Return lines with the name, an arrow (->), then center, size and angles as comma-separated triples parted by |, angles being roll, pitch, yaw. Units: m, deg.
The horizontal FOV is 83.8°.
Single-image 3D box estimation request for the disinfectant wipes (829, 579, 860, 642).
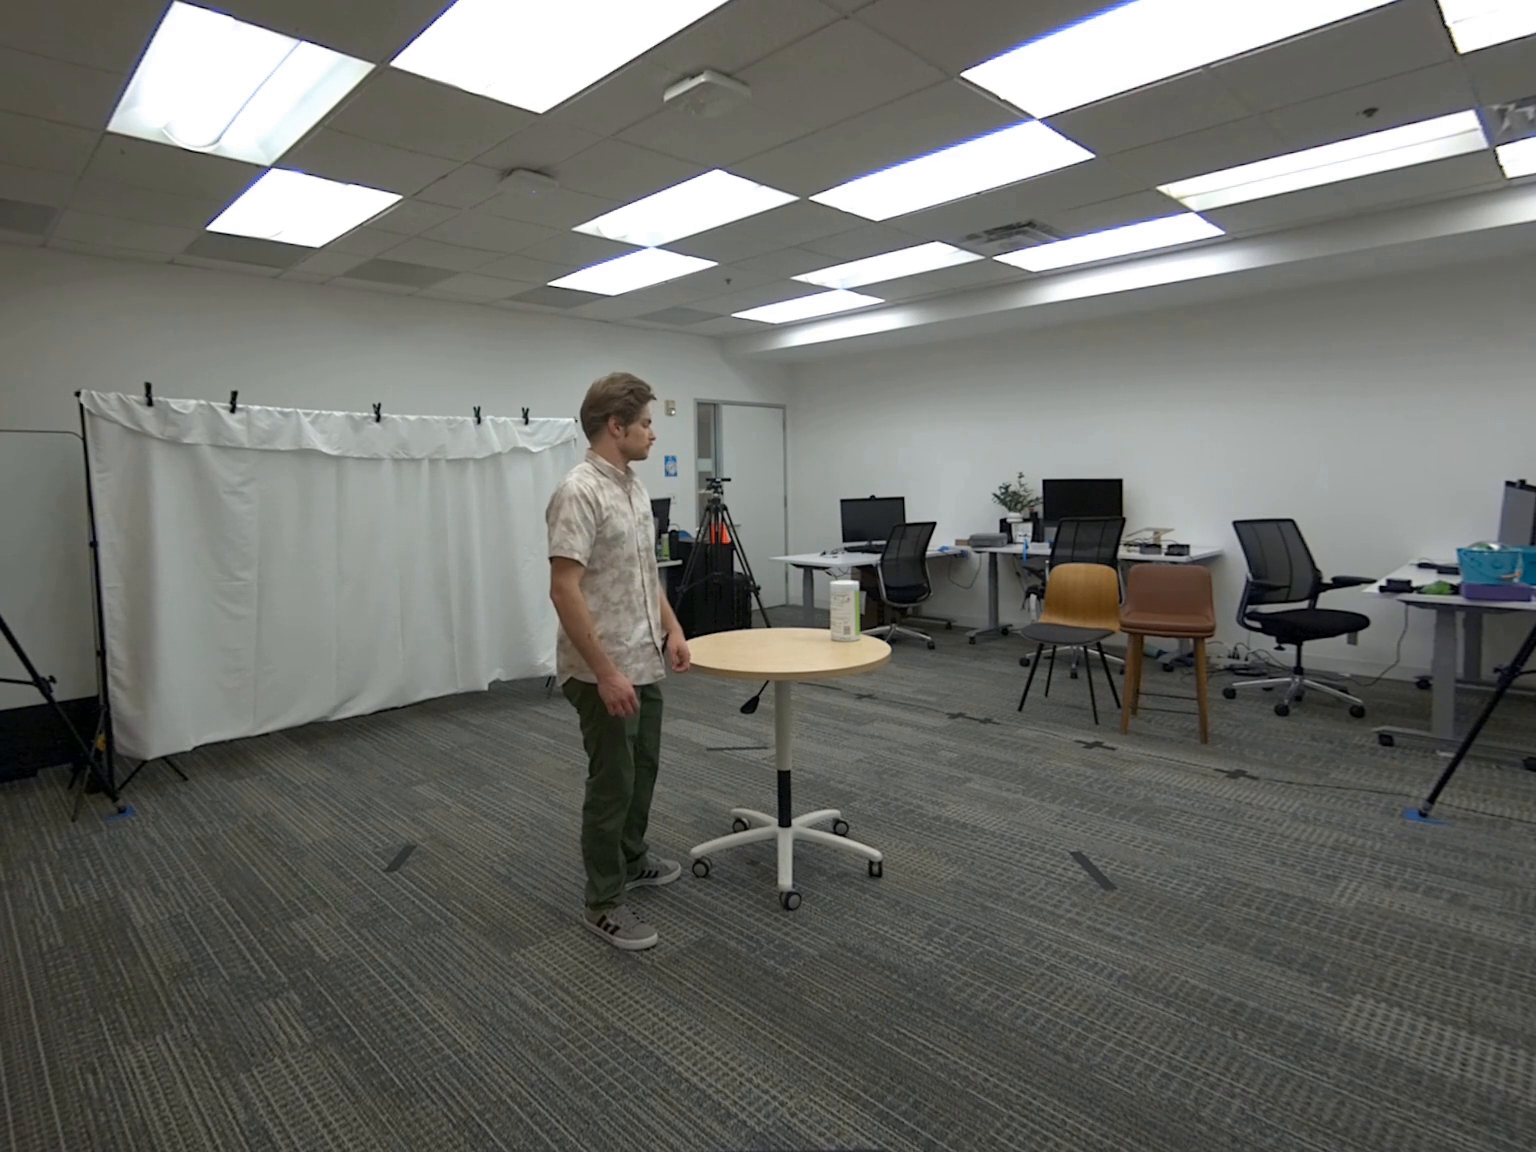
disinfectant wipes -> 0.285, 0.128, 3.163 | 0.118, 0.217, 0.118 | -2, 3, -2
